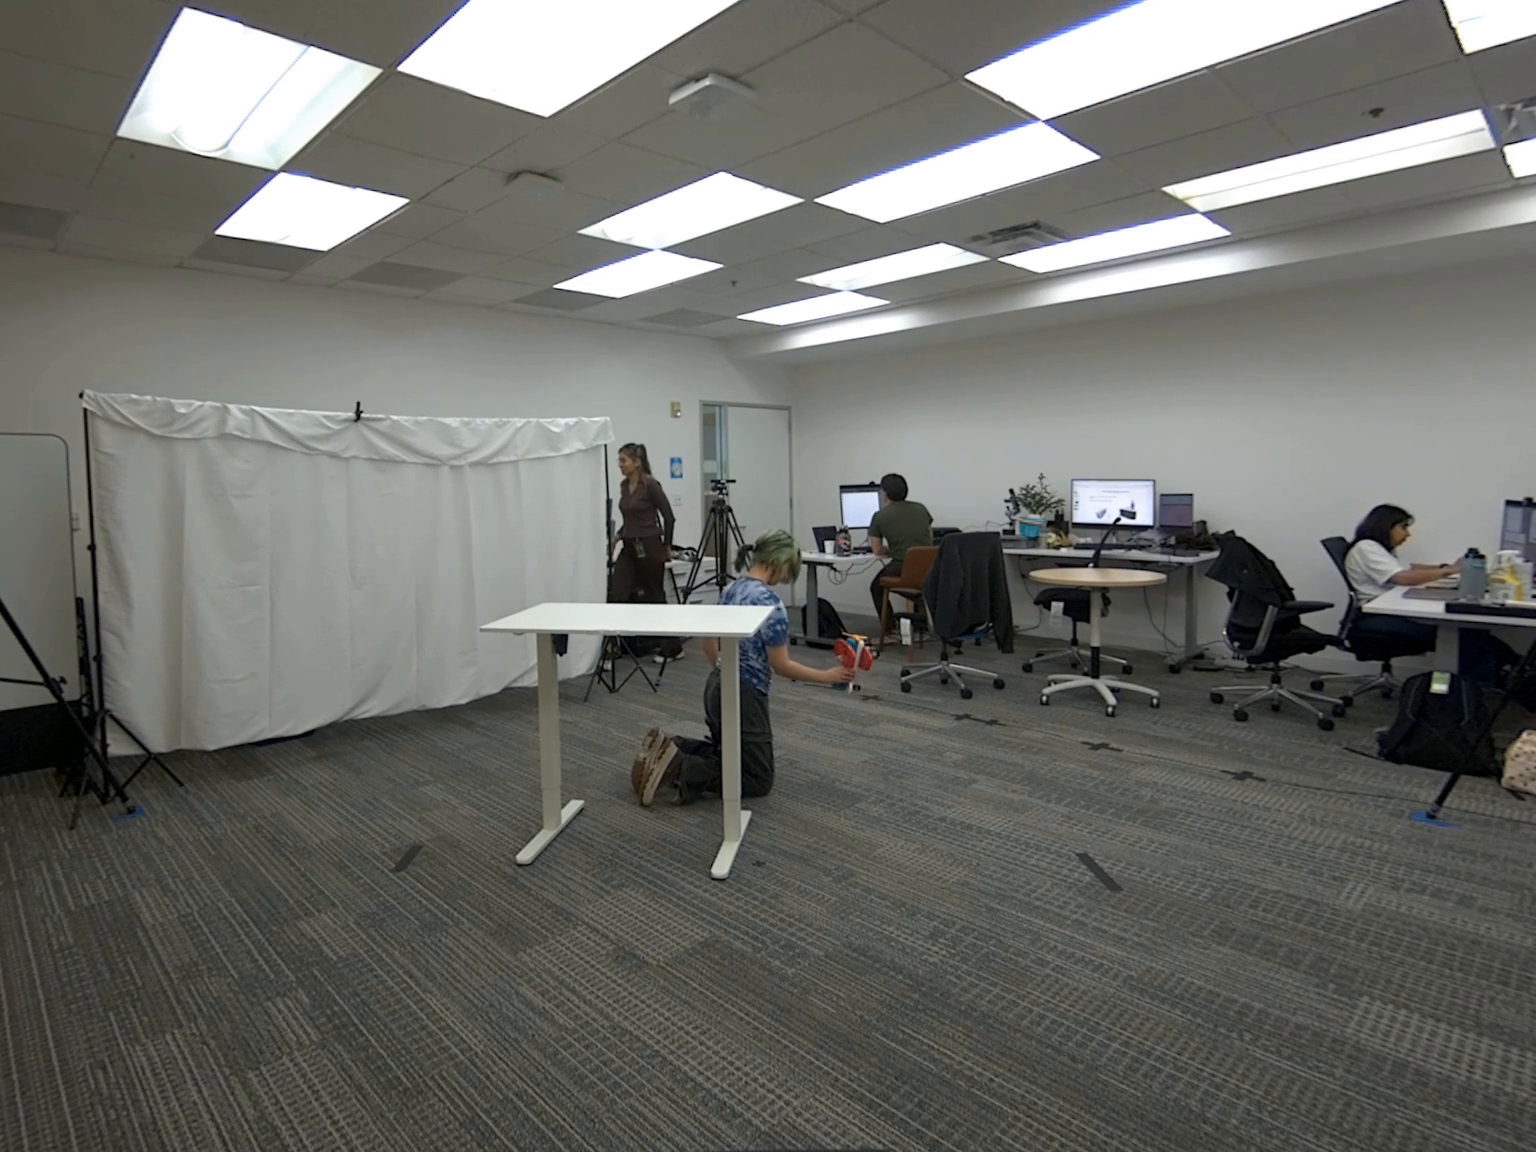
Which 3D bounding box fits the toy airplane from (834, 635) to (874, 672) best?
[{"bbox_3d":[0.383,0.401,3.850,0.154,0.262,0.252,24,-23,-15],"label":"toy airplane"}]
